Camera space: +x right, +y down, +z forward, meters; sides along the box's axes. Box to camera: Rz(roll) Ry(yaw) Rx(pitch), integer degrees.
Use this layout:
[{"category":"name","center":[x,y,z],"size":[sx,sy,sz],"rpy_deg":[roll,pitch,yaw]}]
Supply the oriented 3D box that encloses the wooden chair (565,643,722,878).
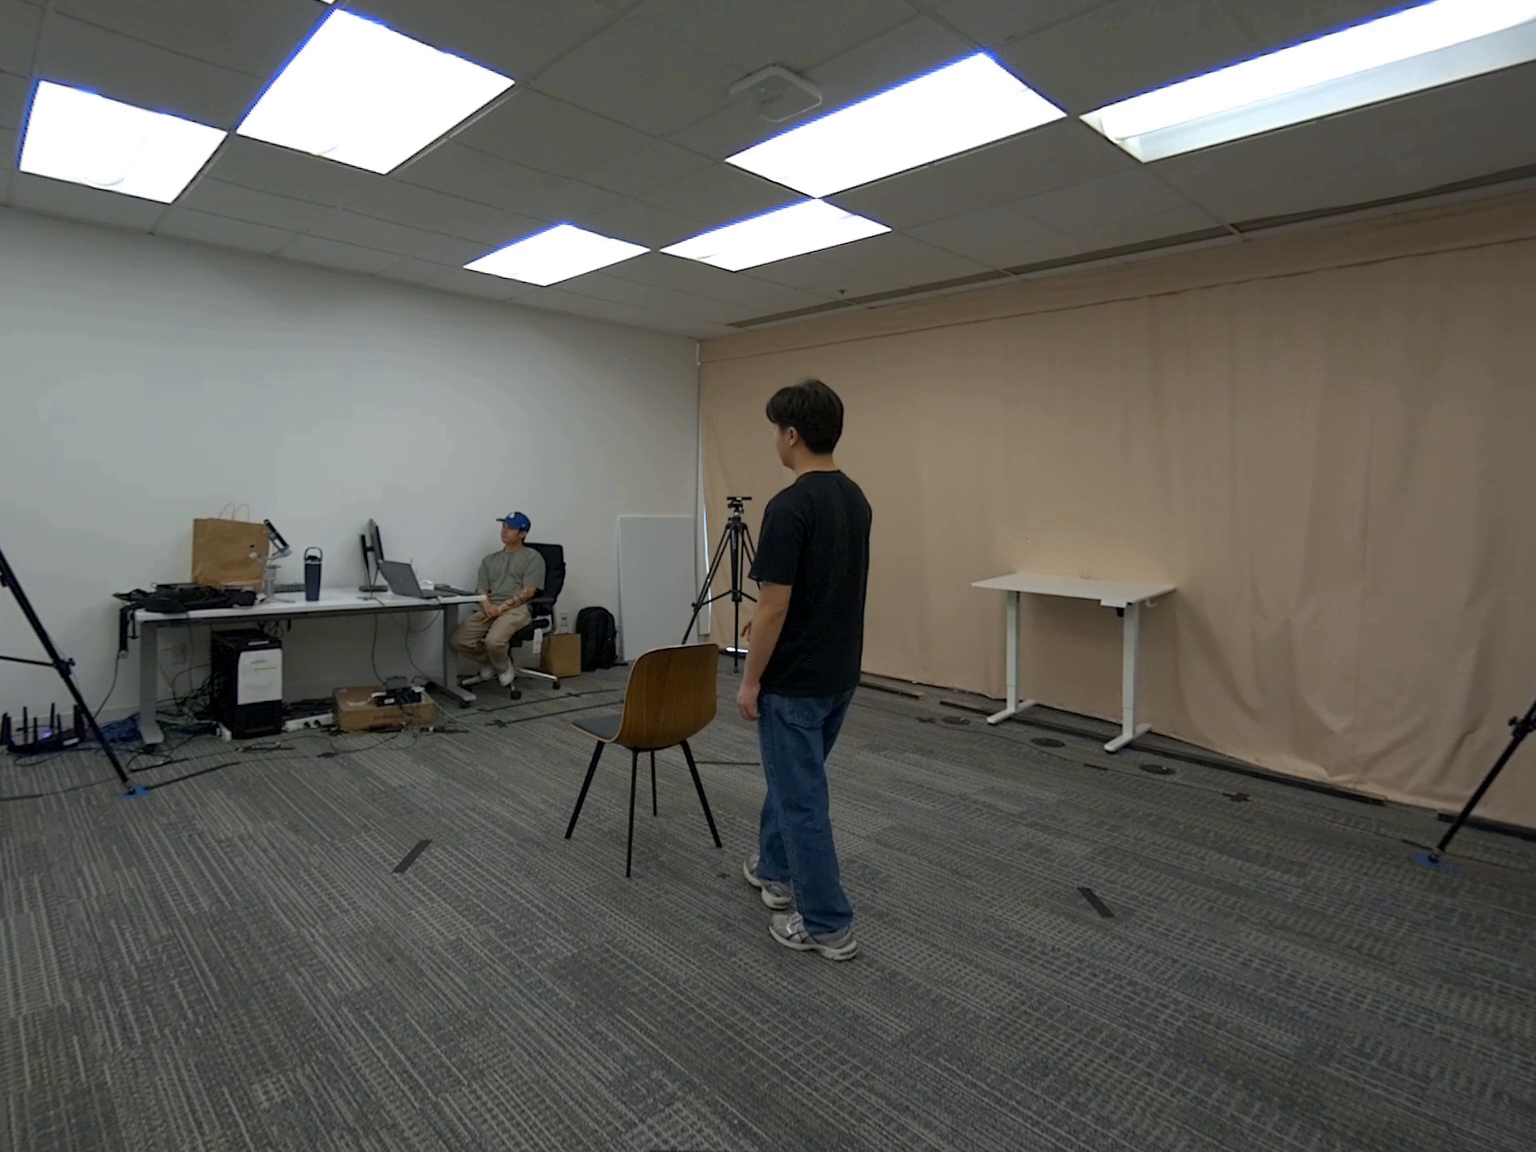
[{"category":"wooden chair","center":[-0.498,0.650,3.356],"size":[0.467,0.873,0.537],"rpy_deg":[-2,9,-42]}]
